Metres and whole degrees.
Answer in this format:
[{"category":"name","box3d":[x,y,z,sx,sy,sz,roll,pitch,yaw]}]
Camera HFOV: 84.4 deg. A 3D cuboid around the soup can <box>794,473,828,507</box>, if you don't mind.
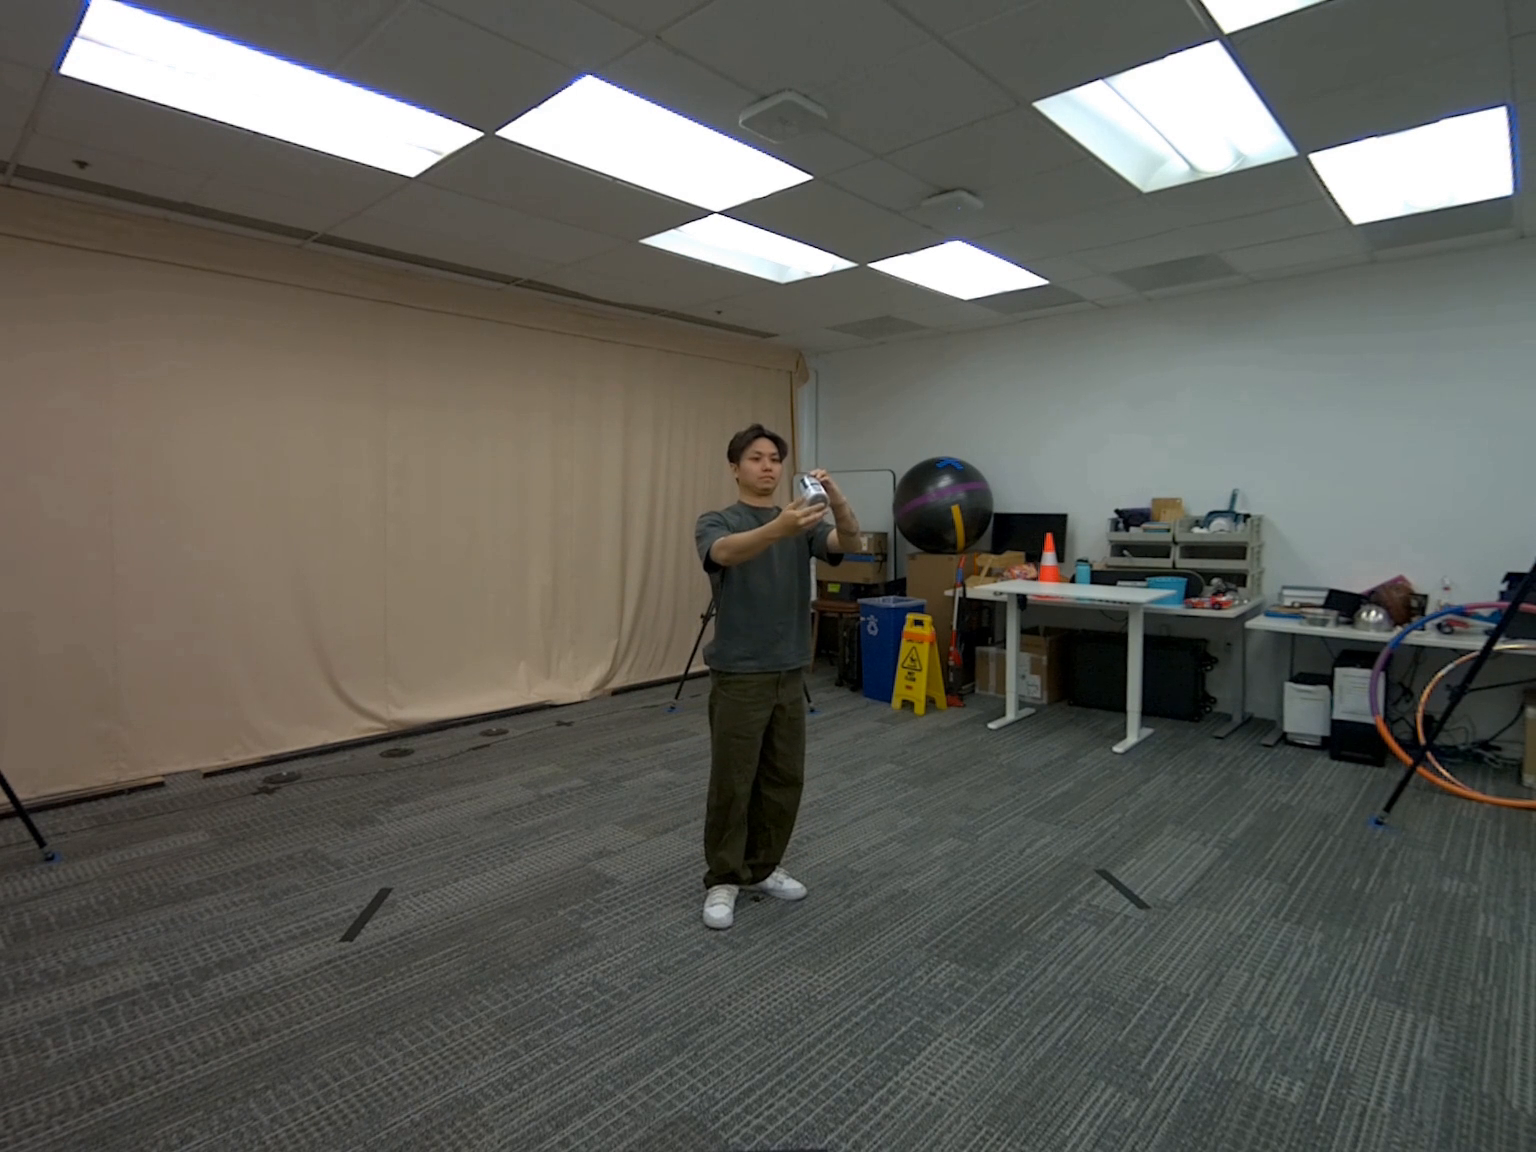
[{"category":"soup can","box3d":[0.137,-0.247,2.492,0.067,0.066,0.123,0,32,-1]}]
